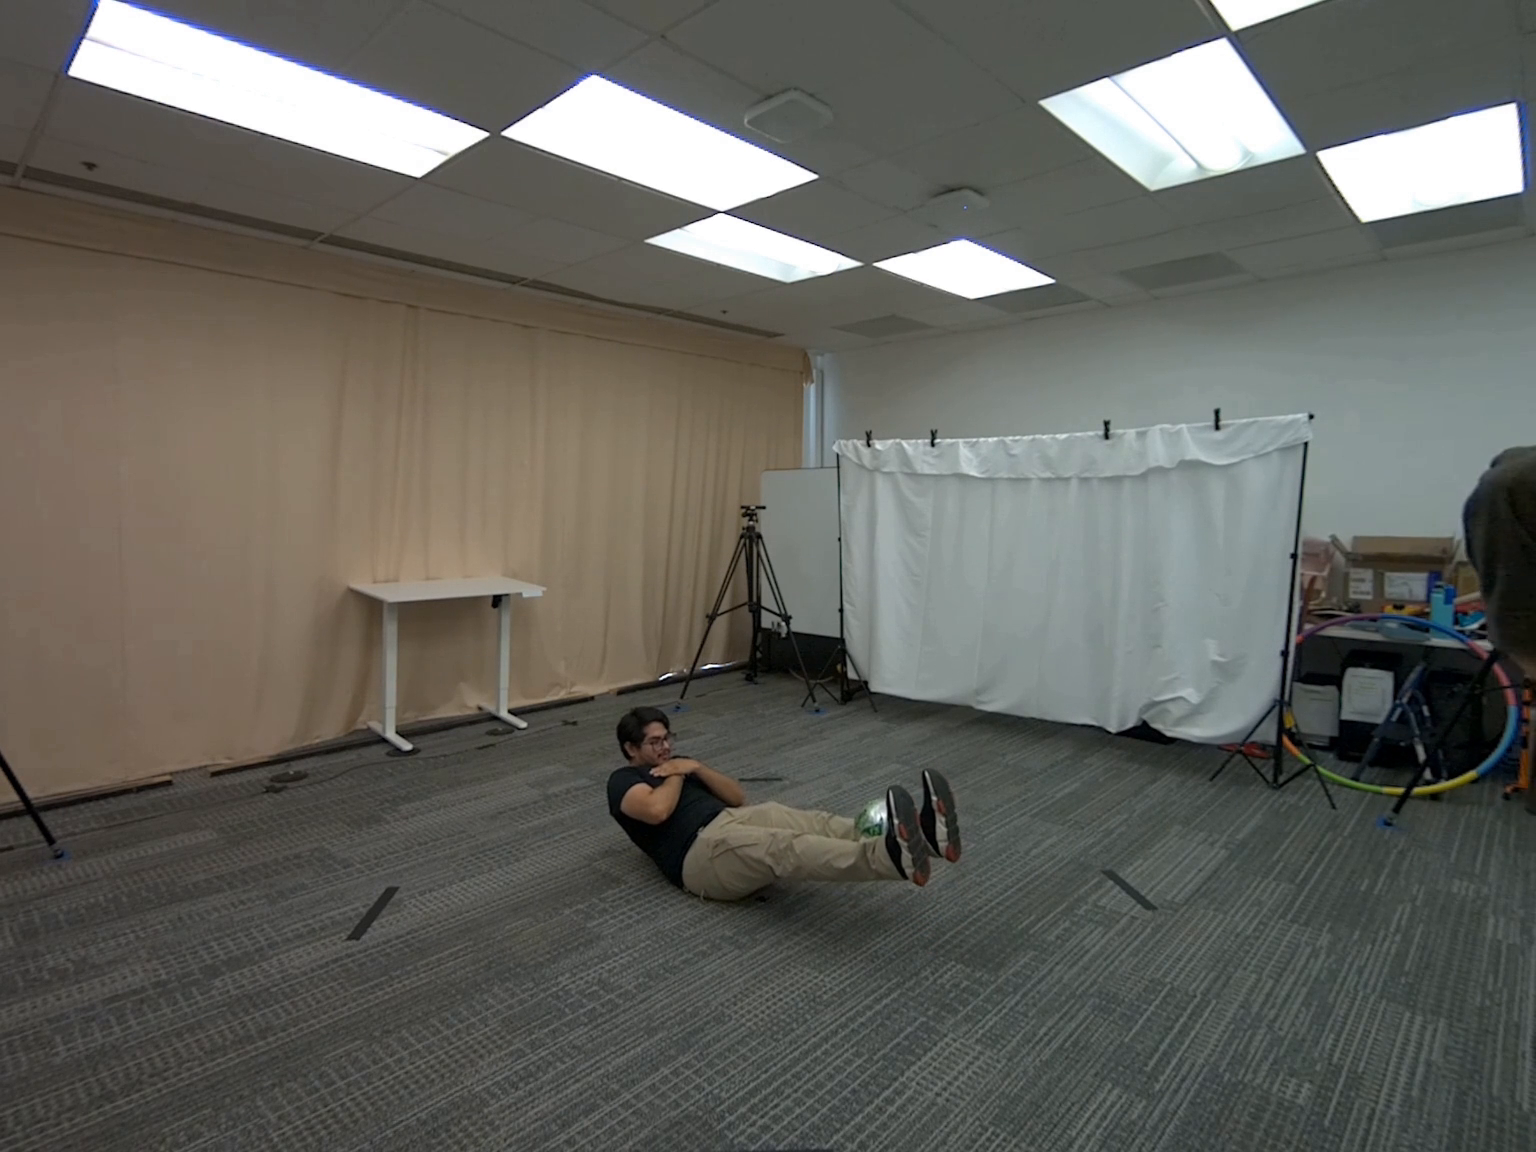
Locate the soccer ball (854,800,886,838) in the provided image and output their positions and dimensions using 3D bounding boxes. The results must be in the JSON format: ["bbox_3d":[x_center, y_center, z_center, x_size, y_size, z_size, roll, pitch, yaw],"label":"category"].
[{"bbox_3d":[0.379,0.812,2.678,0.187,0.187,0.188,0,4,-2],"label":"soccer ball"}]
